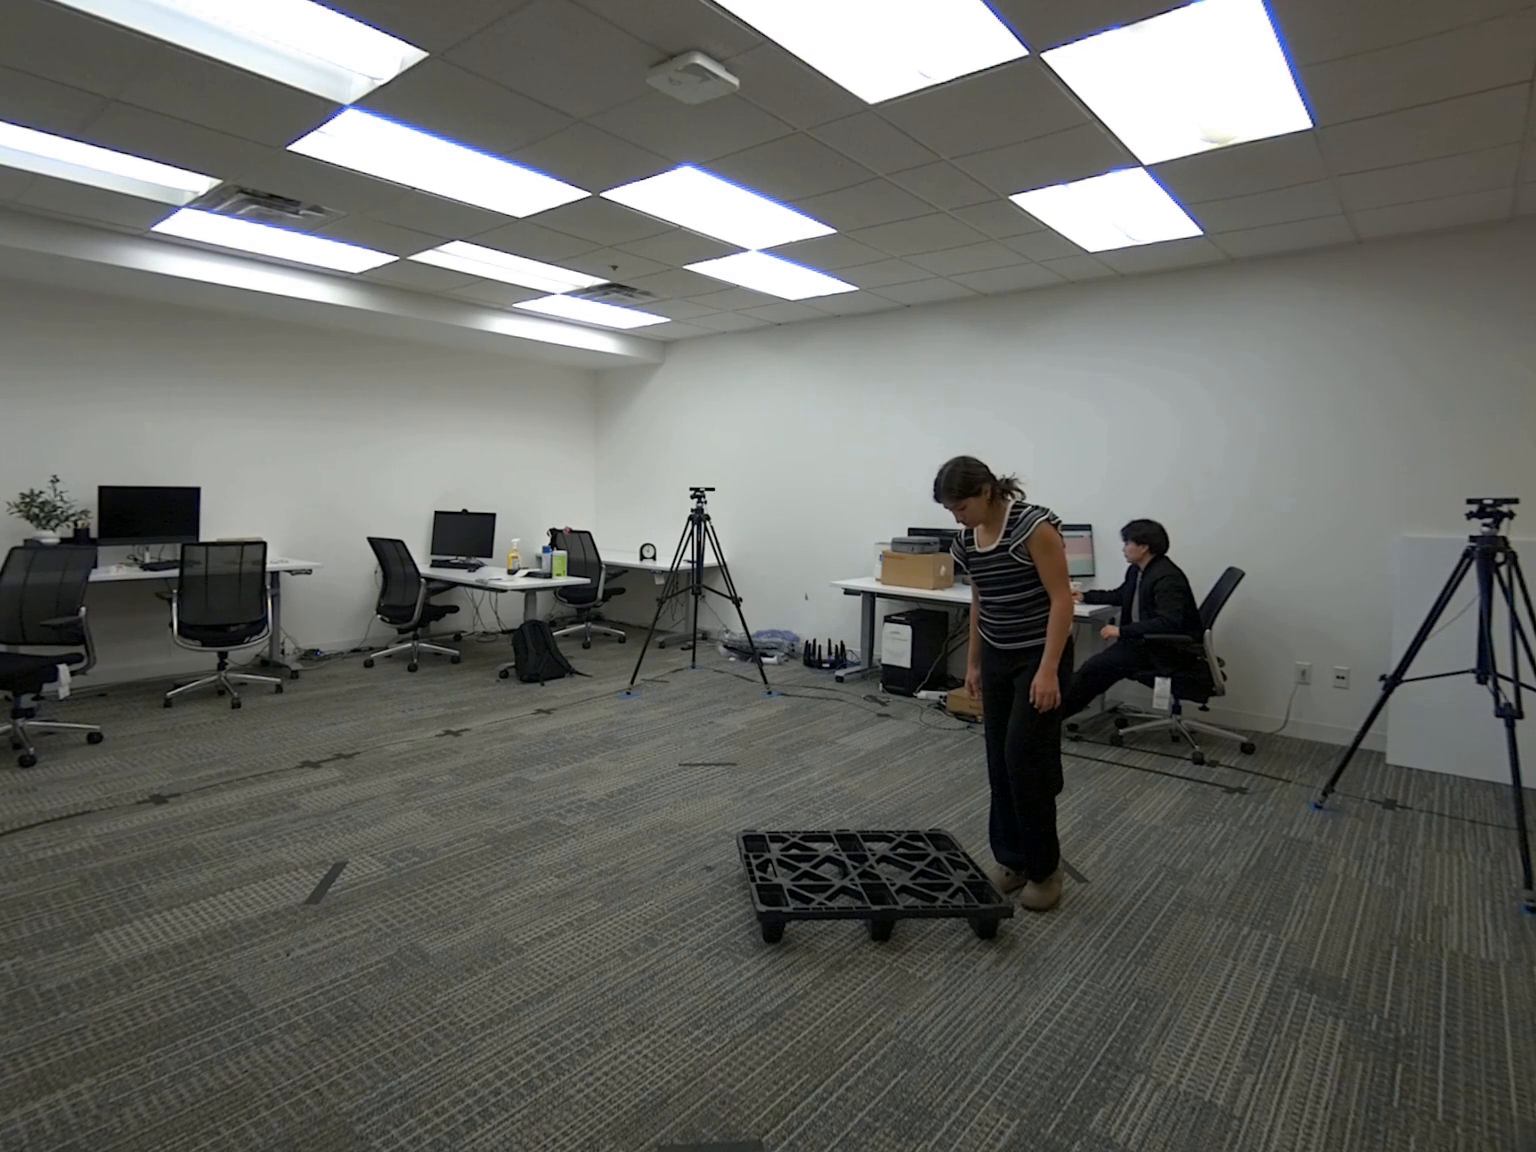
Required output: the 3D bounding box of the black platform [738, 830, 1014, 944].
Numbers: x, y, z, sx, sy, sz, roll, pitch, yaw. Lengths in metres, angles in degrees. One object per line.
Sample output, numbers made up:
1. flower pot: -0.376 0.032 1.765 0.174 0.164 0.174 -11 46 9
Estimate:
1. black platform: 0.313 1.036 2.863 0.801 0.142 0.612 0 6 -6
